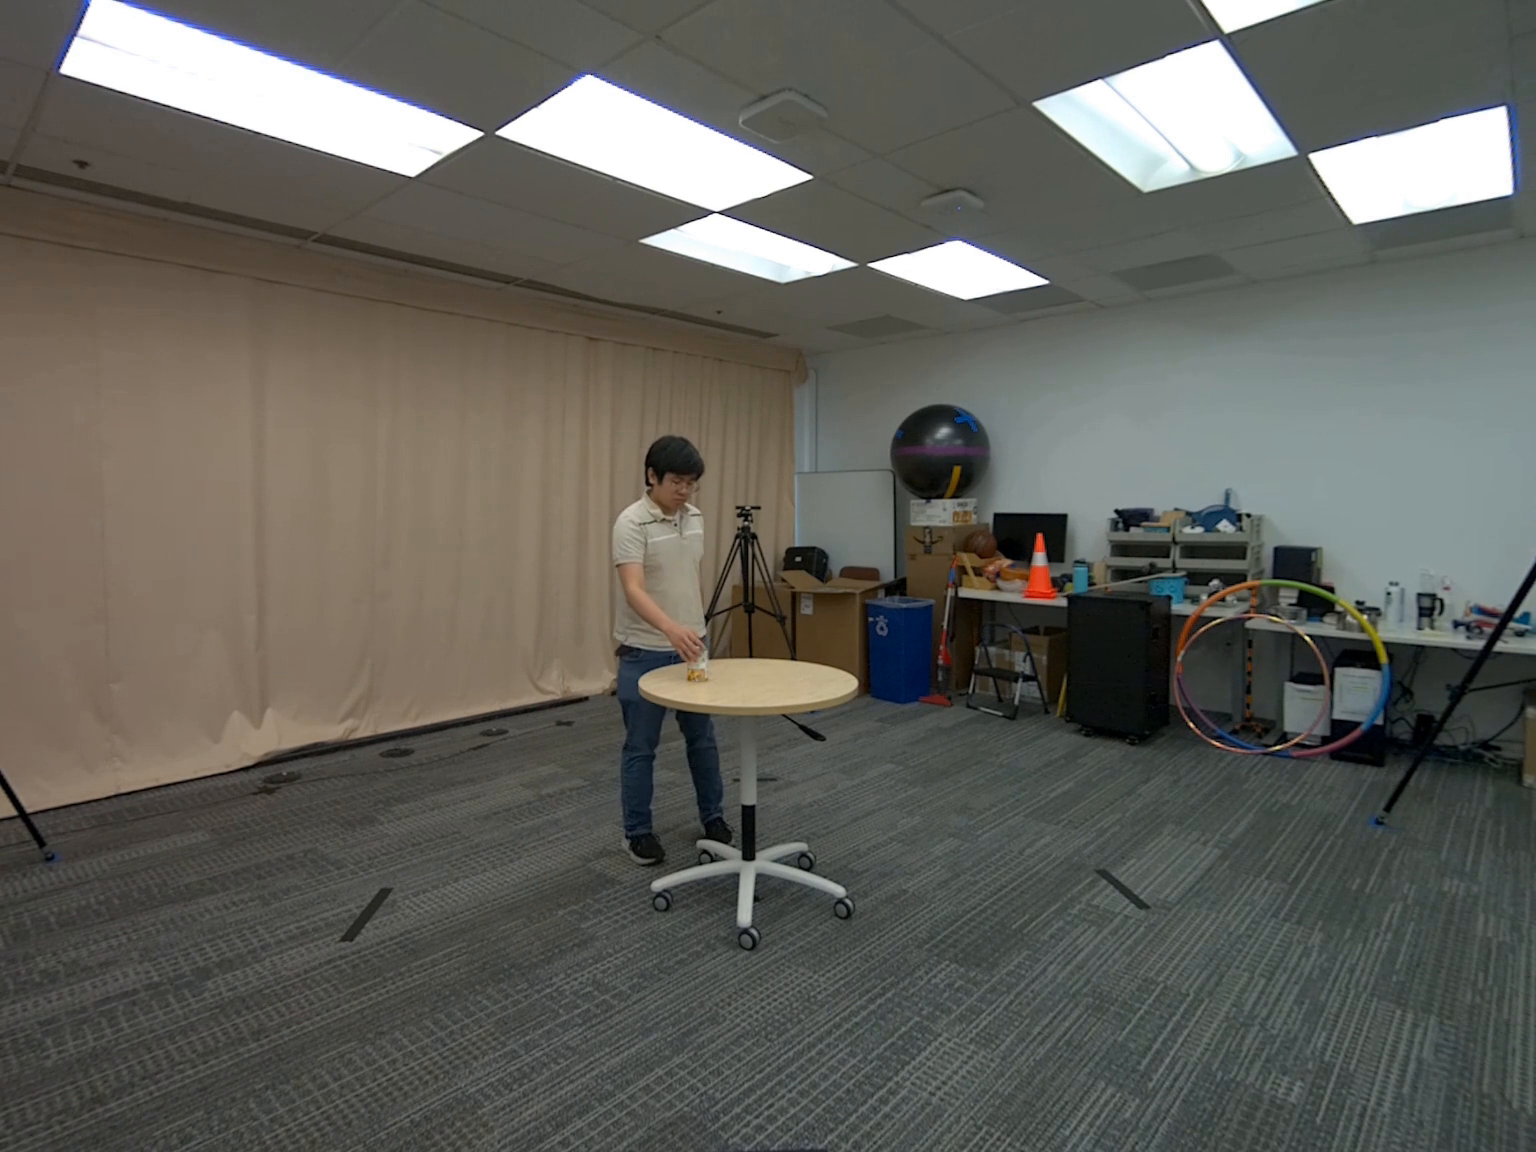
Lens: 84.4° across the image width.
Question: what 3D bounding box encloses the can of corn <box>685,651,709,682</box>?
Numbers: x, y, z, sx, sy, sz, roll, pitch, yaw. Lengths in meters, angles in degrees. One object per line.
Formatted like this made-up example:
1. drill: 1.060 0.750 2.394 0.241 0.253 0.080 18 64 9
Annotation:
1. can of corn: -0.241 0.311 2.953 0.074 0.110 0.074 -2 5 -2
